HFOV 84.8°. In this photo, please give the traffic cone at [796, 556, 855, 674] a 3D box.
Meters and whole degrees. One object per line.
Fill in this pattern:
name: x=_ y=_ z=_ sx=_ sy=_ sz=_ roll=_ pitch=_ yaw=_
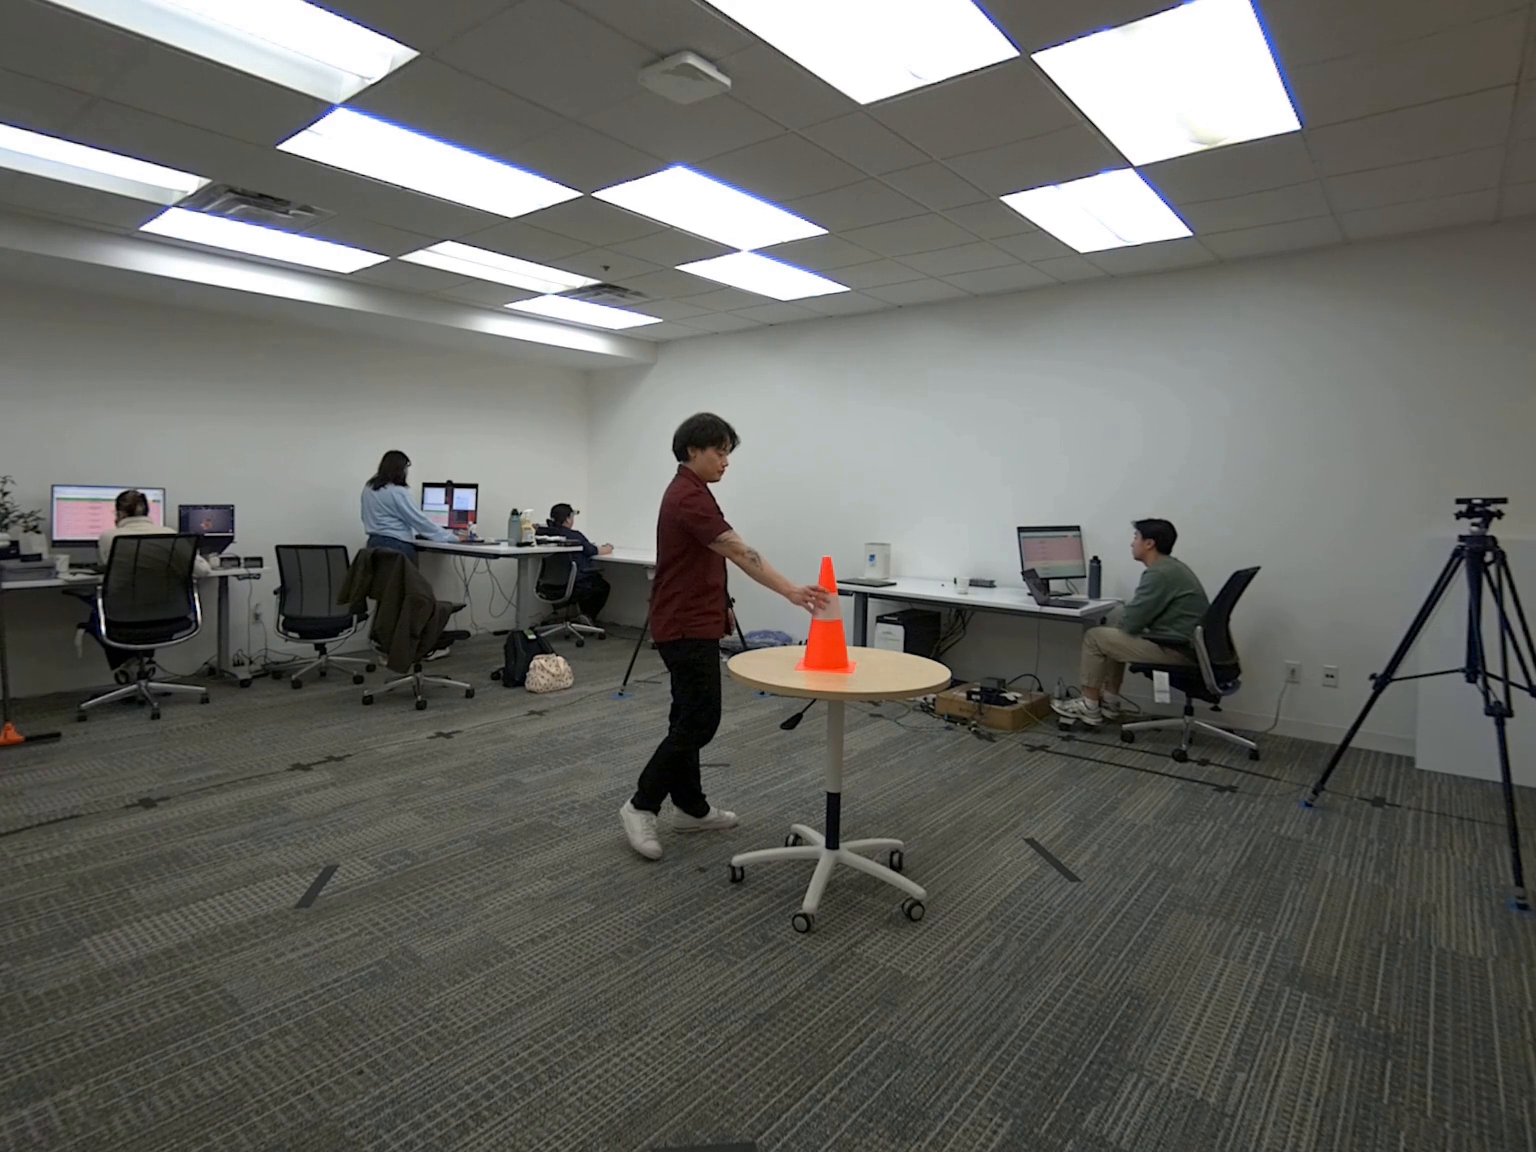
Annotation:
traffic cone: x=0.197 y=0.124 z=2.940 sx=0.208 sy=0.382 sz=0.201 roll=2 pitch=4 yaw=12
